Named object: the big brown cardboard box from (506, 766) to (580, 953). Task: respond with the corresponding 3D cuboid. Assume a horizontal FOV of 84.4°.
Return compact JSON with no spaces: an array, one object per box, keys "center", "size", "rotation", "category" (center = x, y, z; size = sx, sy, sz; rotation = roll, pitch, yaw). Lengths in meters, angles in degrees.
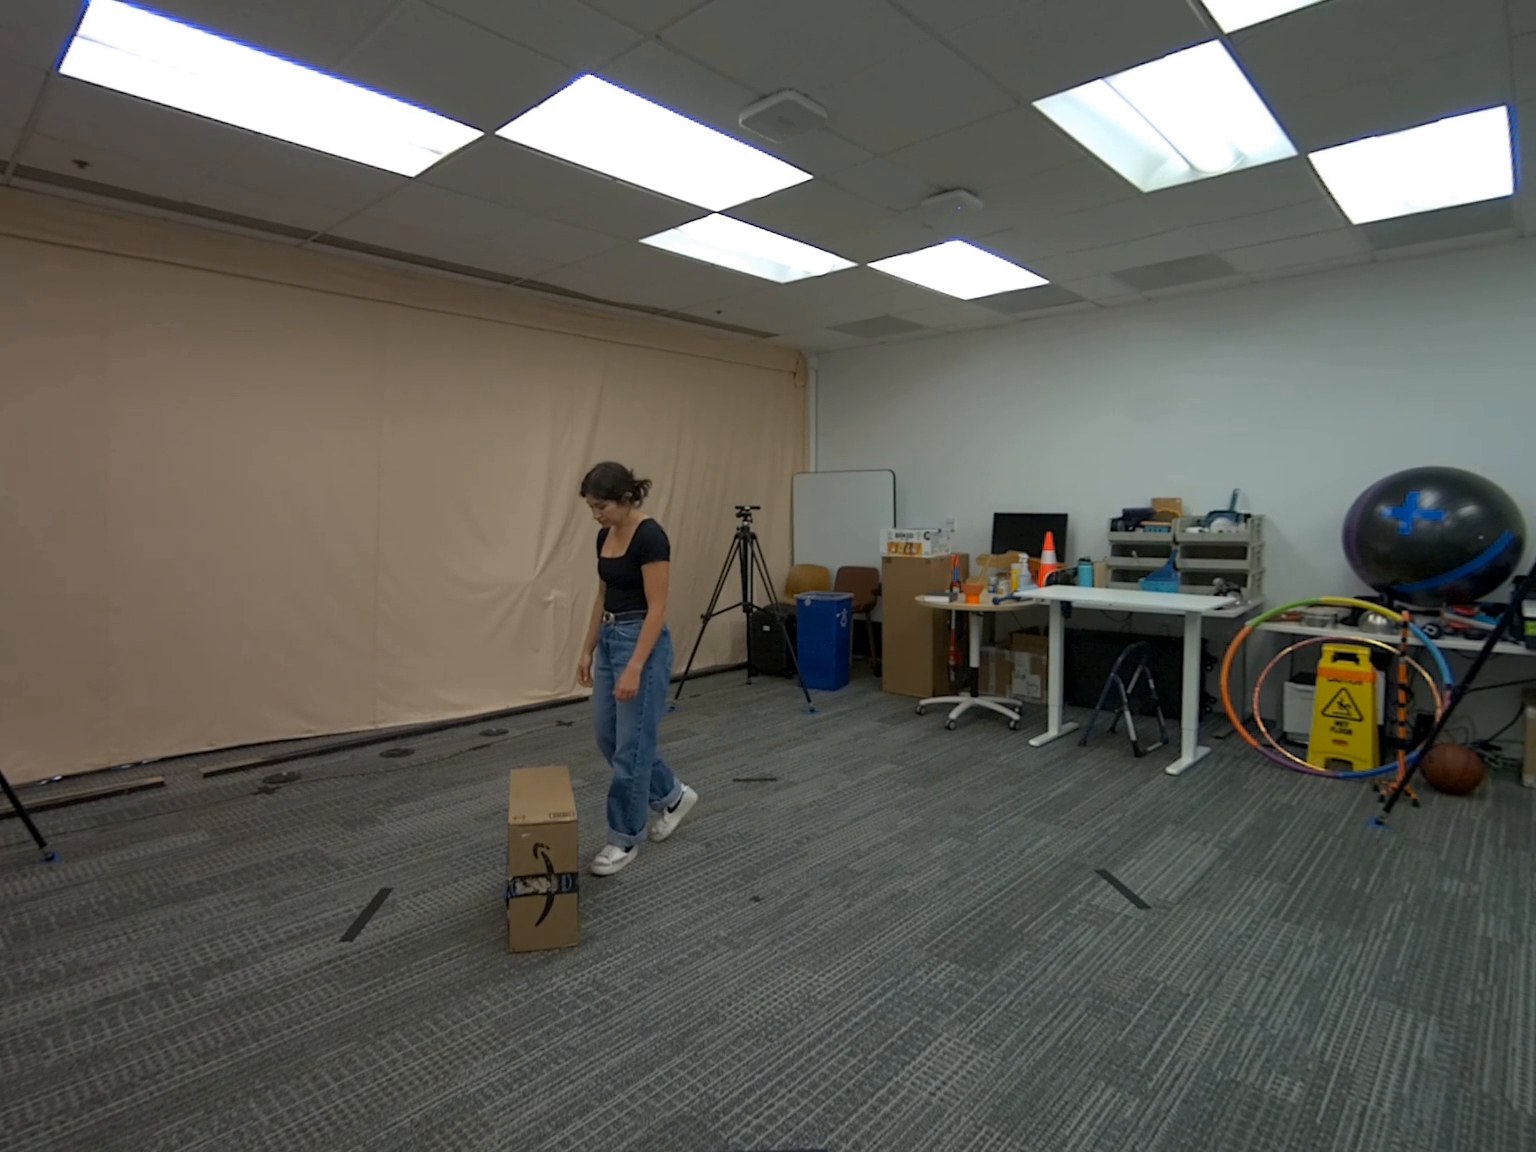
[{"center":[-0.784,0.947,2.900],"size":[0.230,0.417,0.598],"rotation":[0,3,-15],"category":"big brown cardboard box"}]
